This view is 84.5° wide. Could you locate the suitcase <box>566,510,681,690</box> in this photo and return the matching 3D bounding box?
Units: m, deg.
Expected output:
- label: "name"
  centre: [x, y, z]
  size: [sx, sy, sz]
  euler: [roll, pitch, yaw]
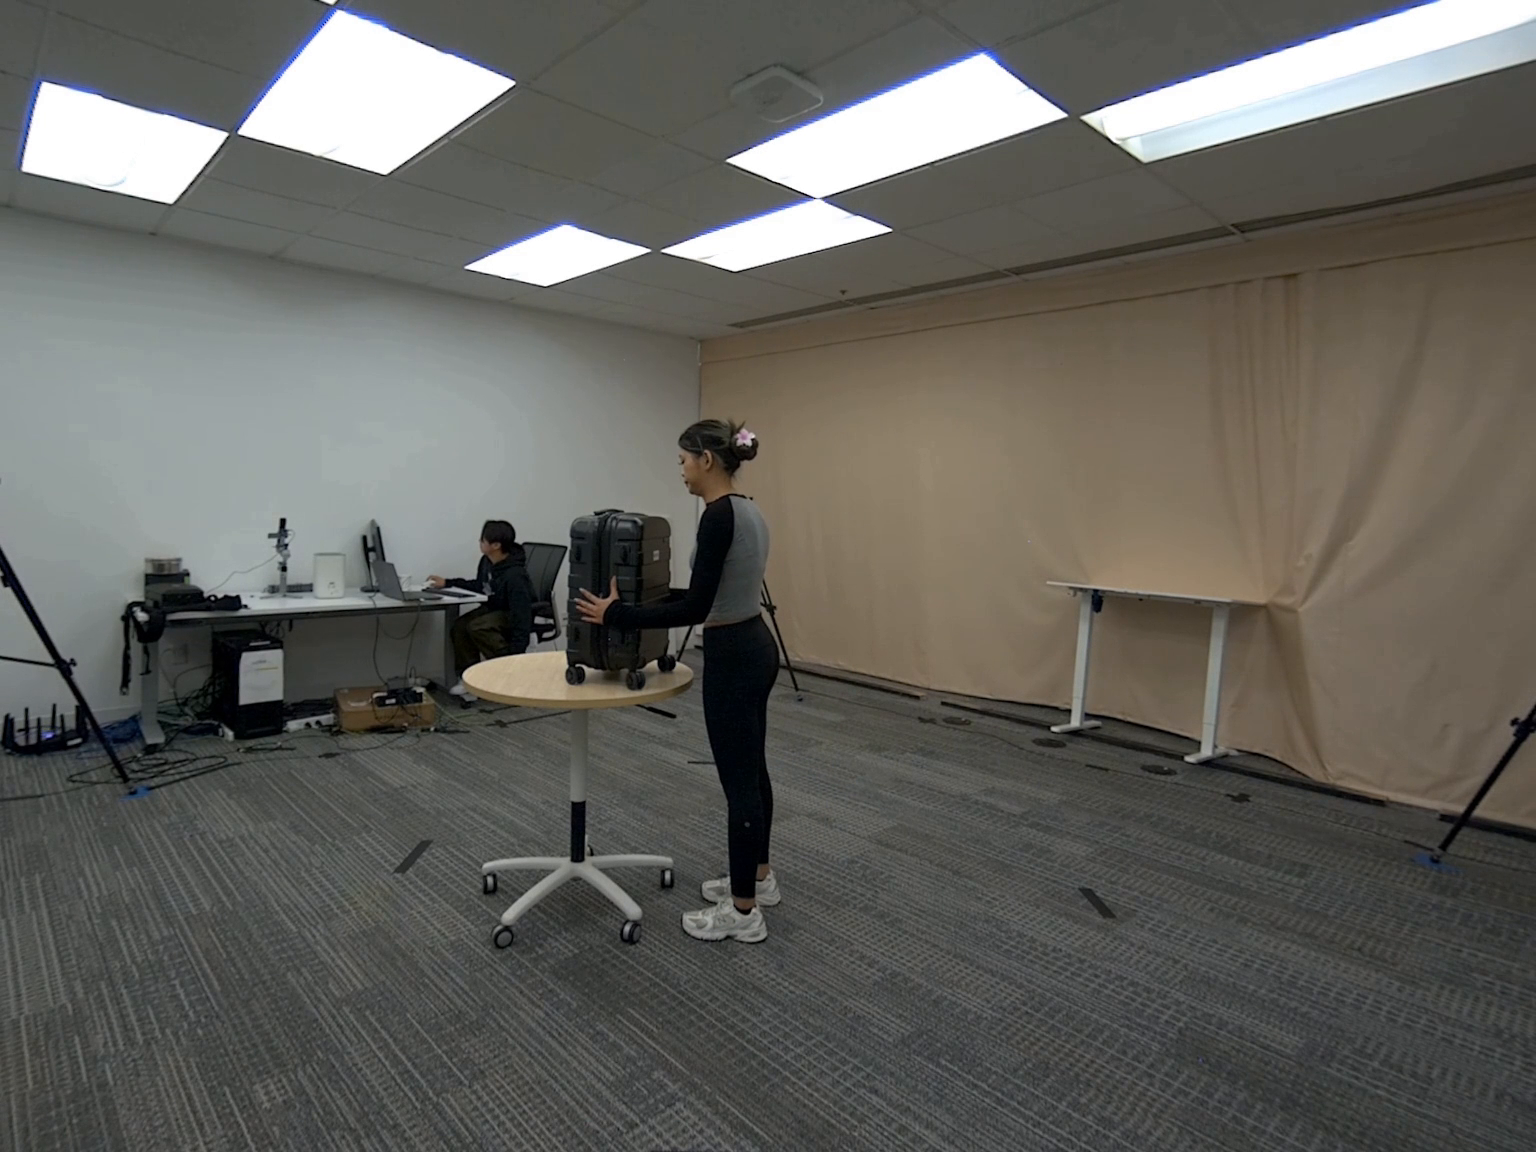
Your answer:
- label: "suitcase"
  centre: [-0.484, 0.058, 2.796]
  size: [0.251, 0.548, 0.372]
  euler: [2, 4, 13]
